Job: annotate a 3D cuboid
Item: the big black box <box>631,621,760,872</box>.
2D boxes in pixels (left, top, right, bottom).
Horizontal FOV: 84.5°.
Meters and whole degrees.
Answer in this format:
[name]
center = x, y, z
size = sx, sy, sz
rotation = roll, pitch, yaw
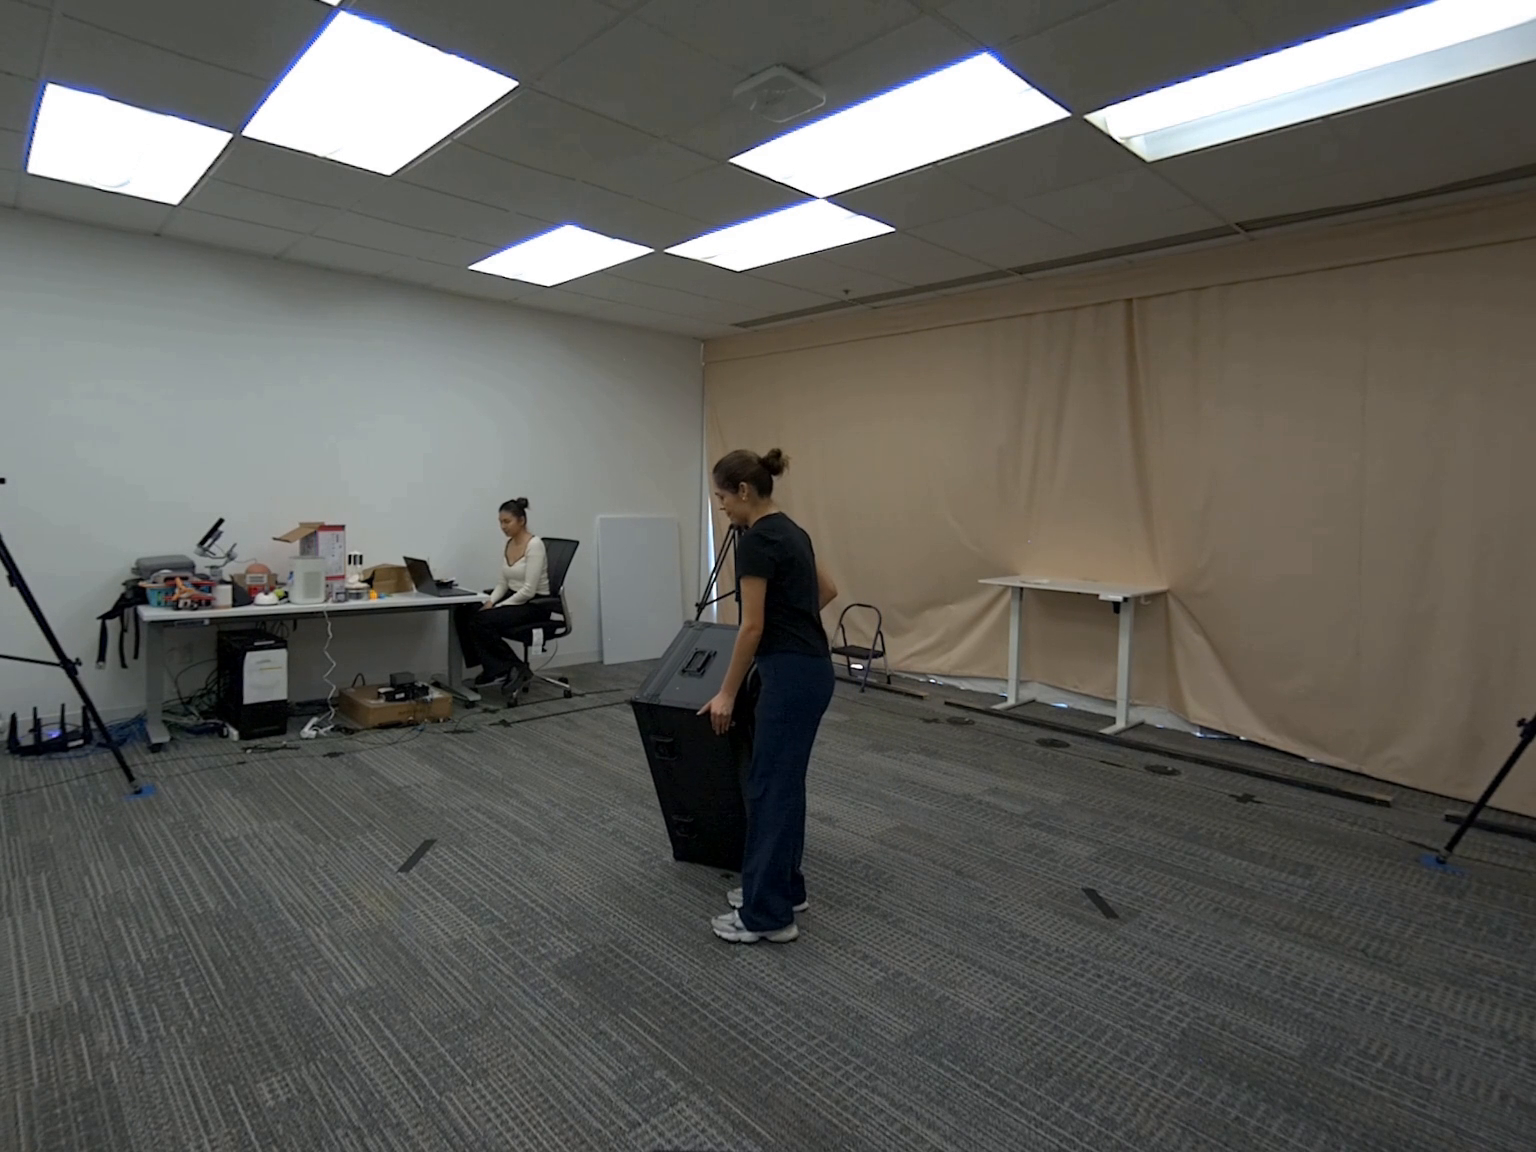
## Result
[big black box]
center = -0.159, 0.667, 3.167
size = 0.403, 0.843, 0.523
rotation = 4, 32, 22
